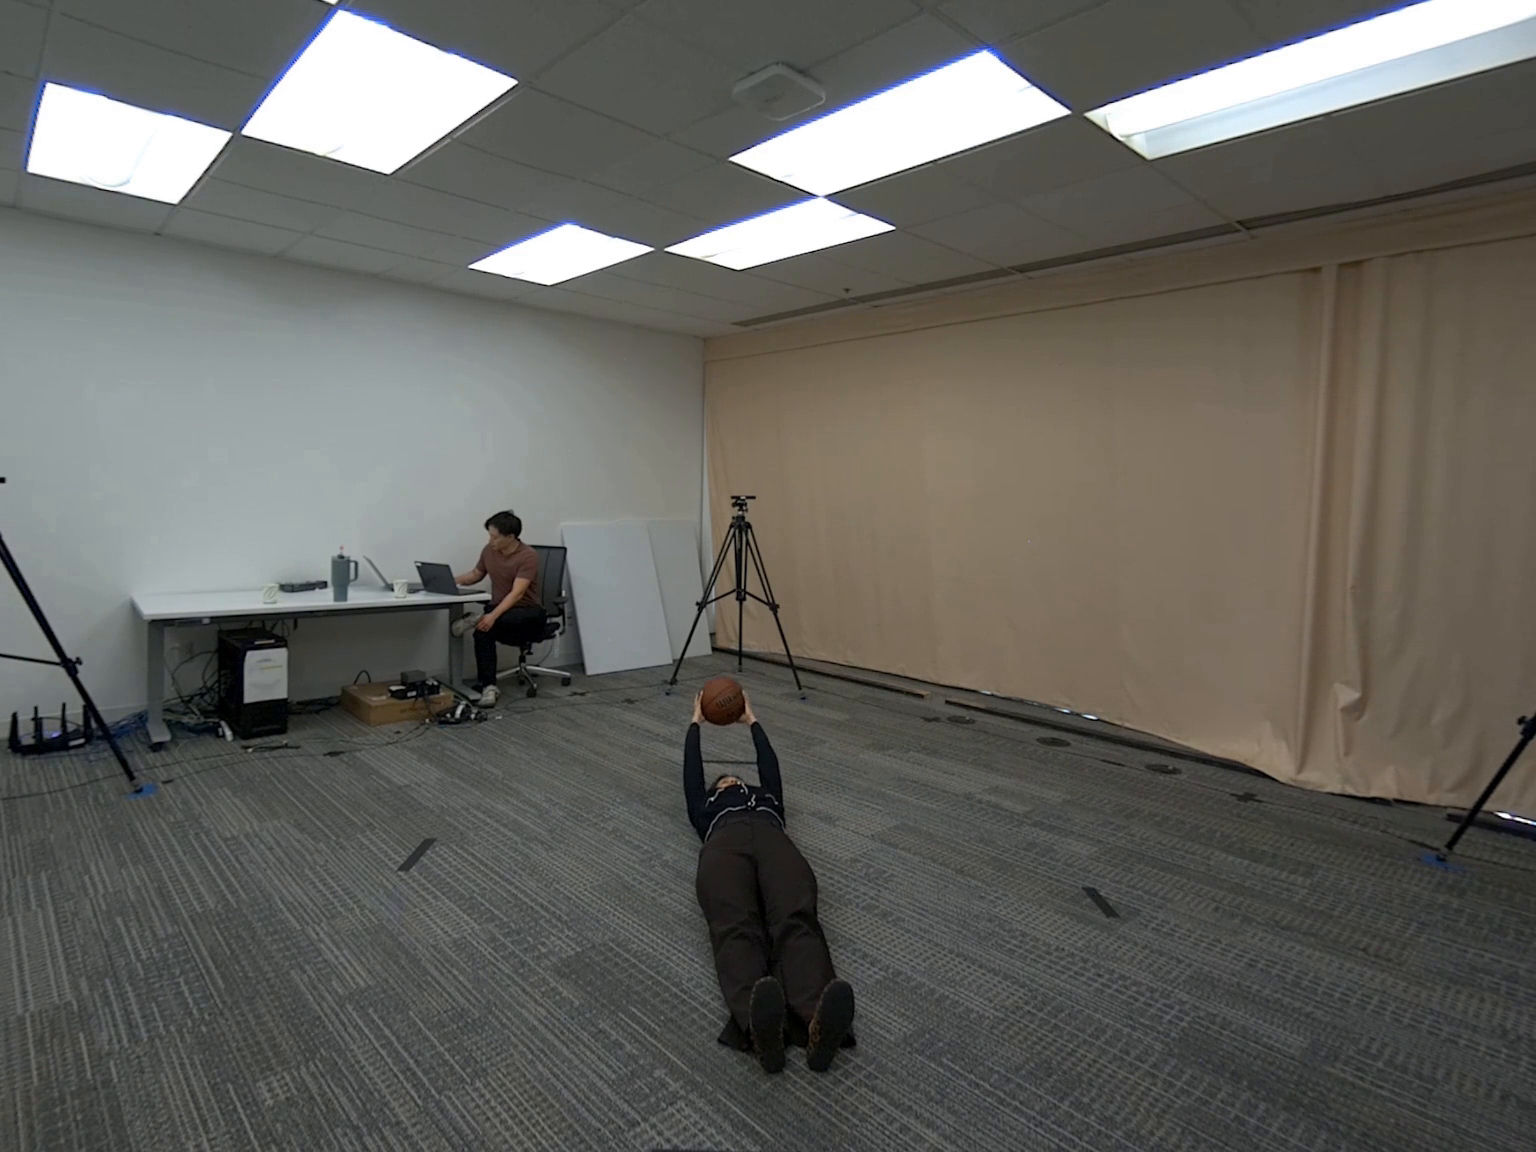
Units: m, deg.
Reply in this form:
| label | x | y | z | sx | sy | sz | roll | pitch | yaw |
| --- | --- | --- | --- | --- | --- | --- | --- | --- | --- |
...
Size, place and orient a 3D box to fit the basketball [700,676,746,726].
| label | x | y | z | sx | sy | sz | roll | pitch | yaw |
| --- | --- | --- | --- | --- | --- | --- | --- | --- | --- |
| basketball | -0.240 | 0.610 | 4.088 | 0.236 | 0.235 | 0.237 | 1 | 4 | -1 |
